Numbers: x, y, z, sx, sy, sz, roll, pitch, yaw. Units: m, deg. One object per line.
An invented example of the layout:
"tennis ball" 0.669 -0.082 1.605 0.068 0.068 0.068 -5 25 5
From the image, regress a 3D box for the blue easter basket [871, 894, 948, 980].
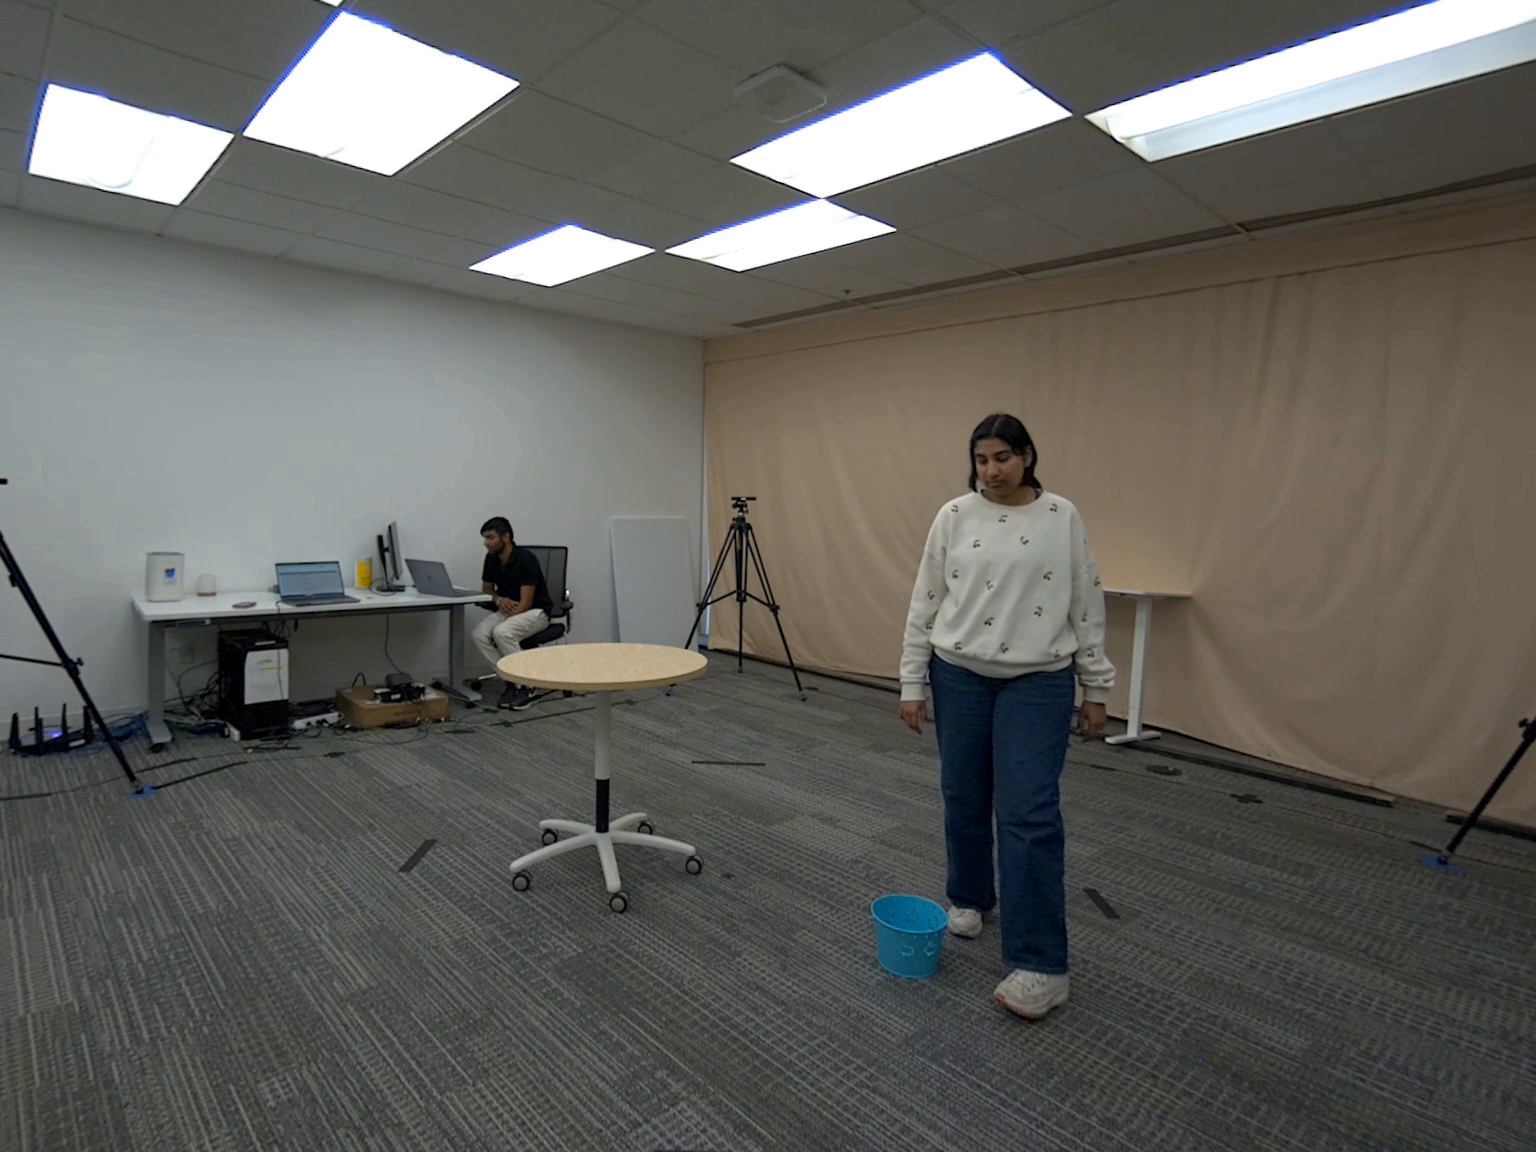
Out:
"blue easter basket" 0.424 1.087 2.563 0.243 0.155 0.244 1 6 -1
